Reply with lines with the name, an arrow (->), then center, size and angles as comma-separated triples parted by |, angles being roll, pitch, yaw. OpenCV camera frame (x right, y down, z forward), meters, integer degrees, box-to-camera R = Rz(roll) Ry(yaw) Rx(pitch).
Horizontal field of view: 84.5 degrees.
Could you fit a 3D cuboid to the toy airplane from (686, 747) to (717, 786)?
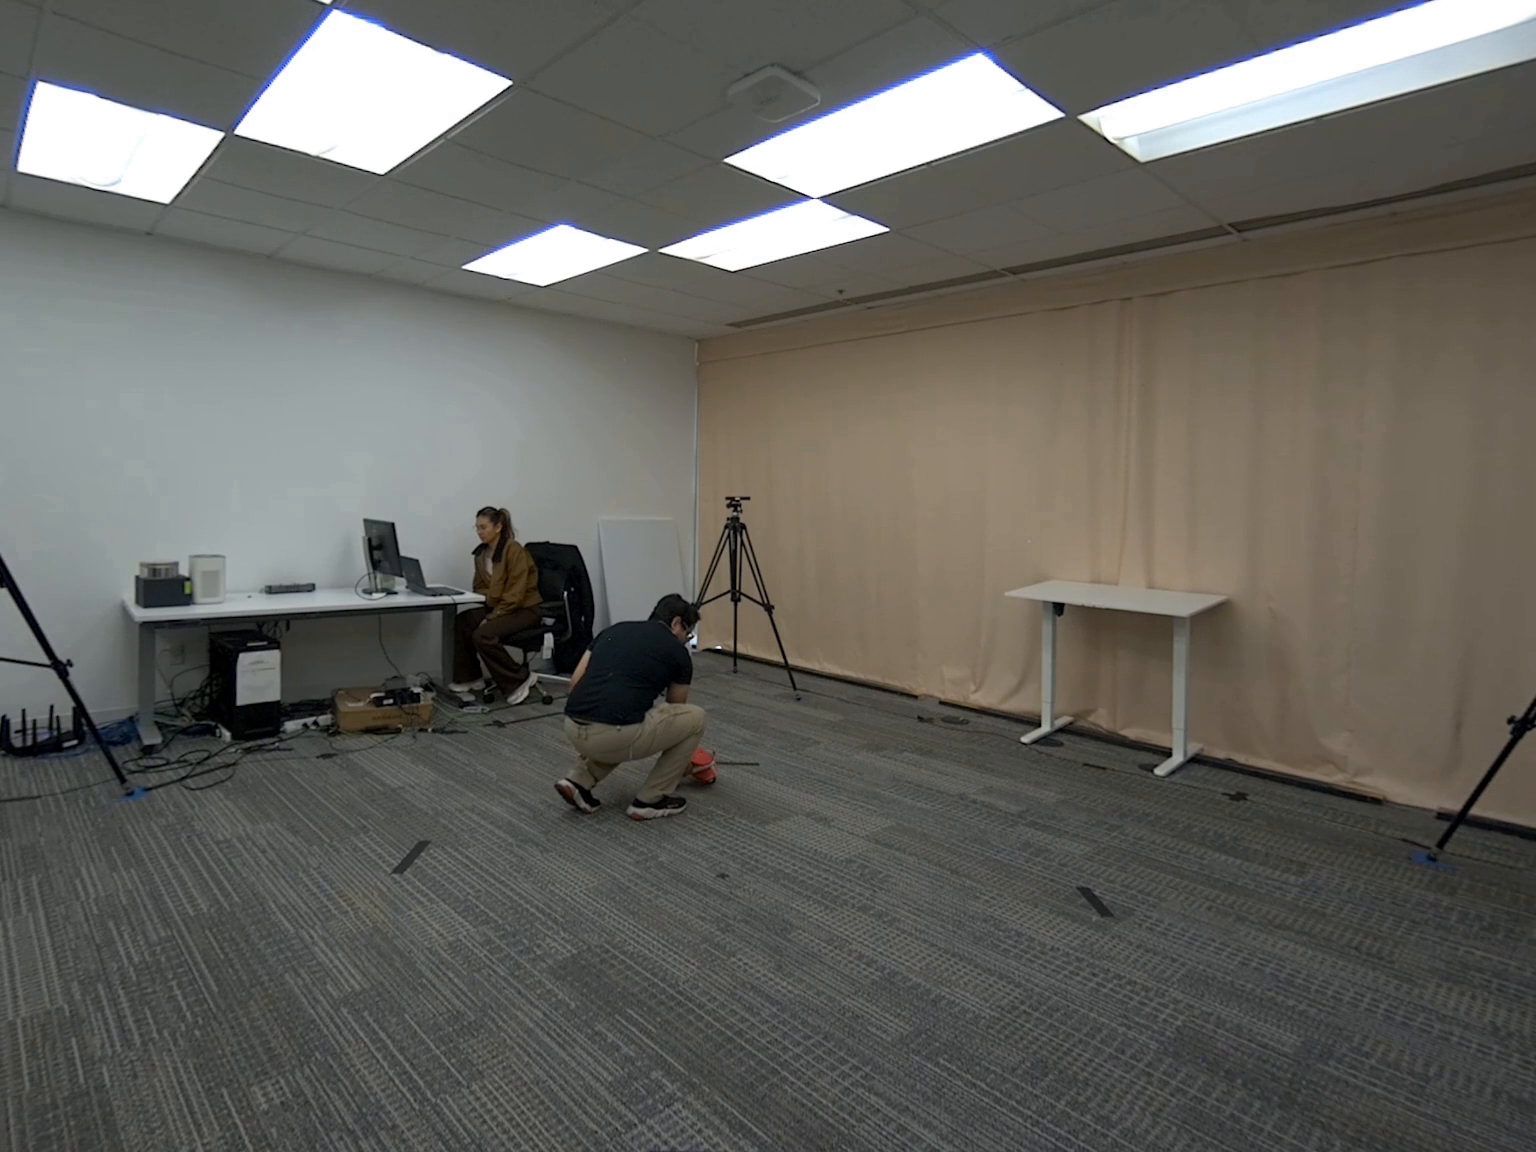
toy airplane -> -0.375, 0.938, 4.103 | 0.257, 0.156, 0.254 | 5, 6, 35
